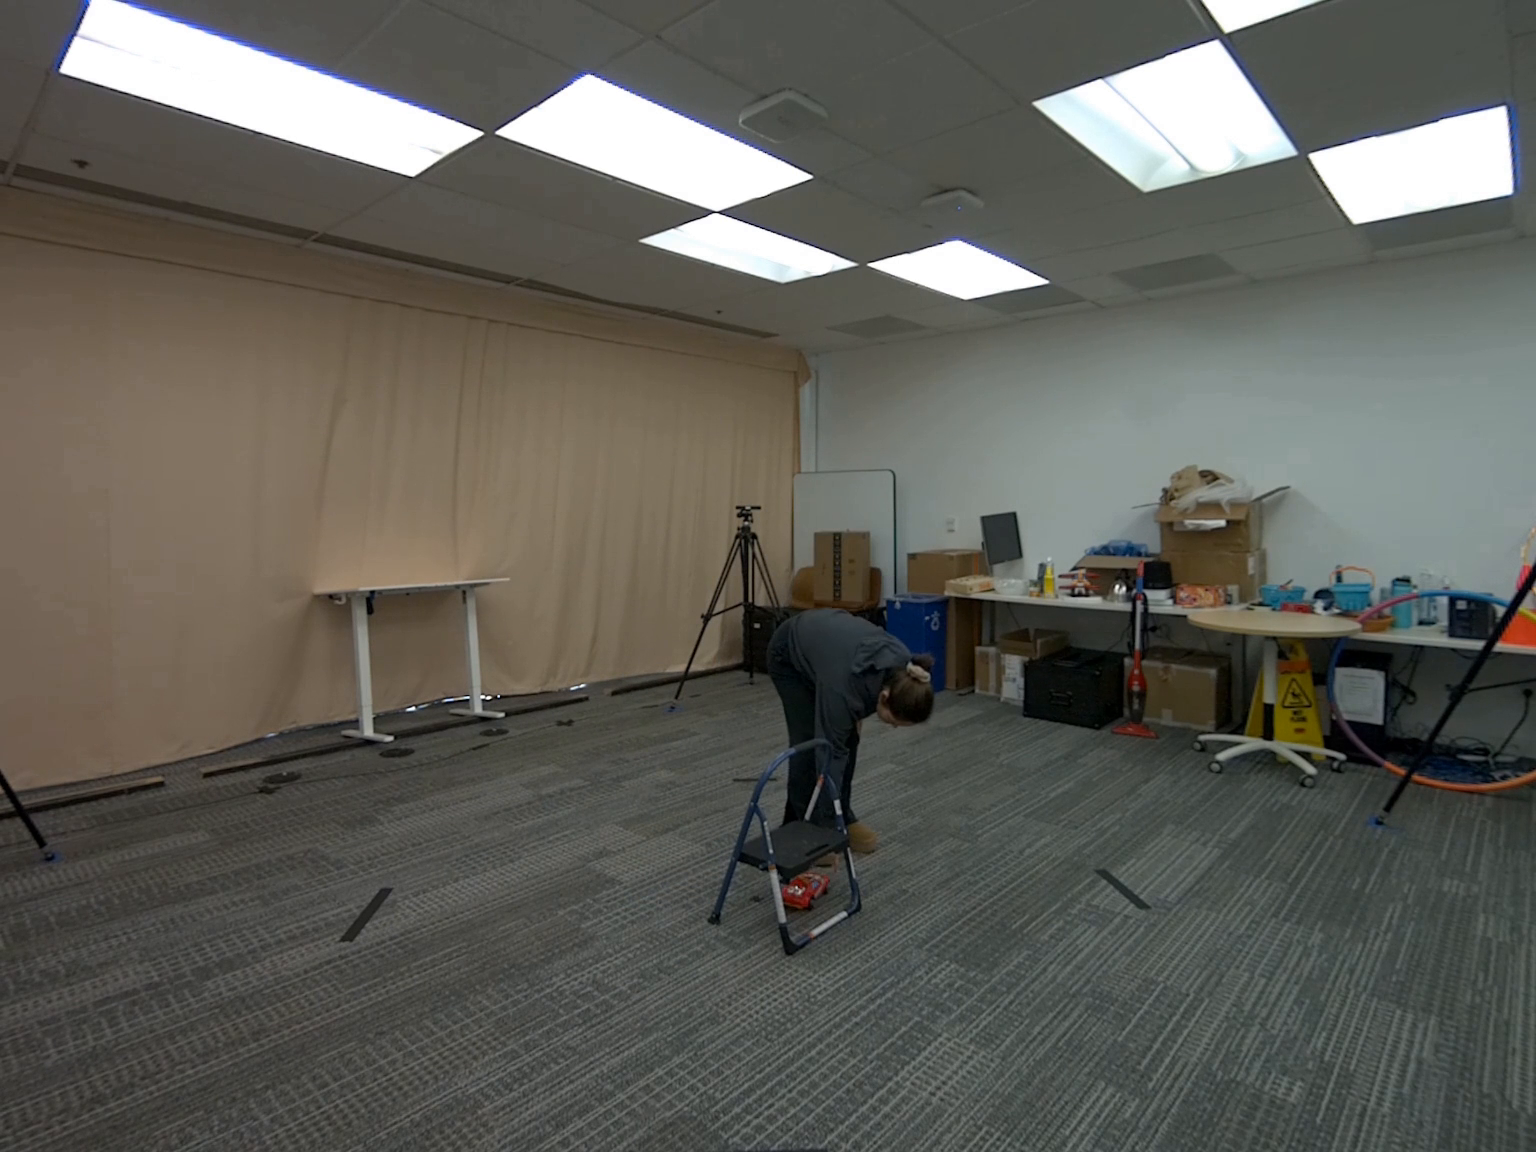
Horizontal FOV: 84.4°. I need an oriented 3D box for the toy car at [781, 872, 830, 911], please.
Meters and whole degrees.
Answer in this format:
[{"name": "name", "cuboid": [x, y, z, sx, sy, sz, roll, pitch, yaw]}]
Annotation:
[{"name": "toy car", "cuboid": [0.140, 1.108, 2.972, 0.134, 0.083, 0.247, 2, -5, 29]}]
